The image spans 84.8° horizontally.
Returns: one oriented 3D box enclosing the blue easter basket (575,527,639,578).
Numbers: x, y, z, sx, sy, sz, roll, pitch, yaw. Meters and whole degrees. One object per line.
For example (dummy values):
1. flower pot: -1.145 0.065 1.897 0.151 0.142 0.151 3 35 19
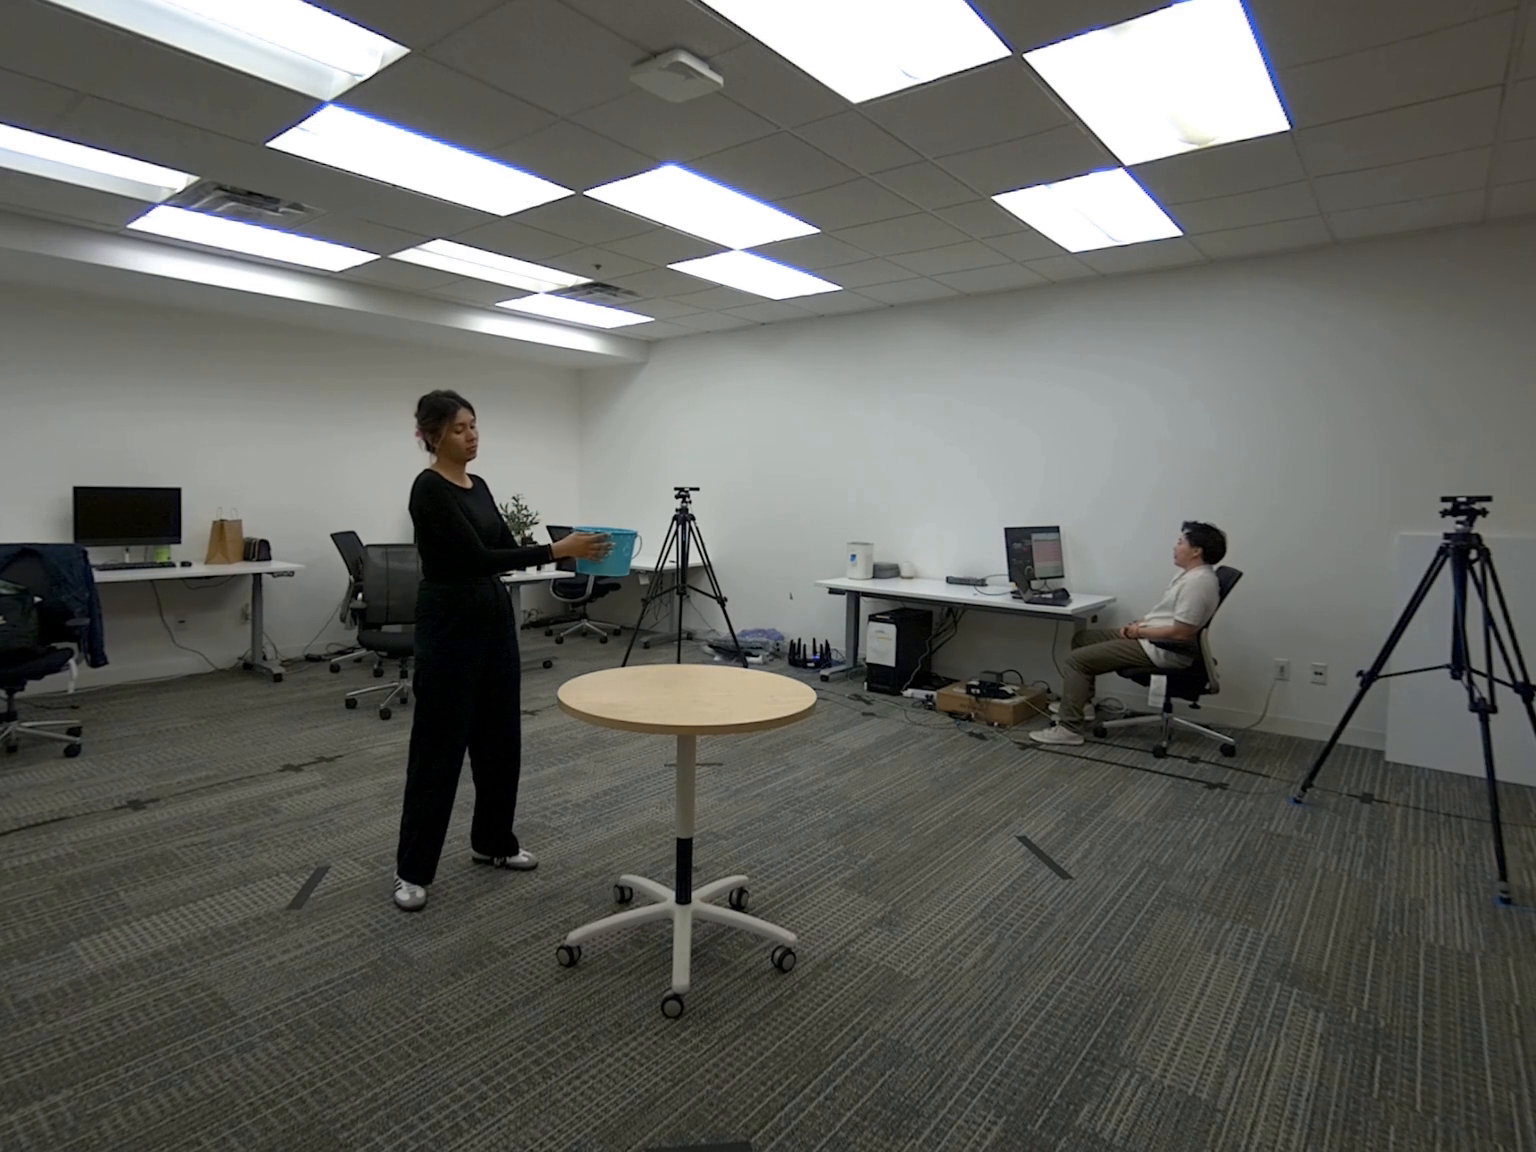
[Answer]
1. blue easter basket: -0.583 -0.086 2.958 0.243 0.155 0.245 3 5 -2
